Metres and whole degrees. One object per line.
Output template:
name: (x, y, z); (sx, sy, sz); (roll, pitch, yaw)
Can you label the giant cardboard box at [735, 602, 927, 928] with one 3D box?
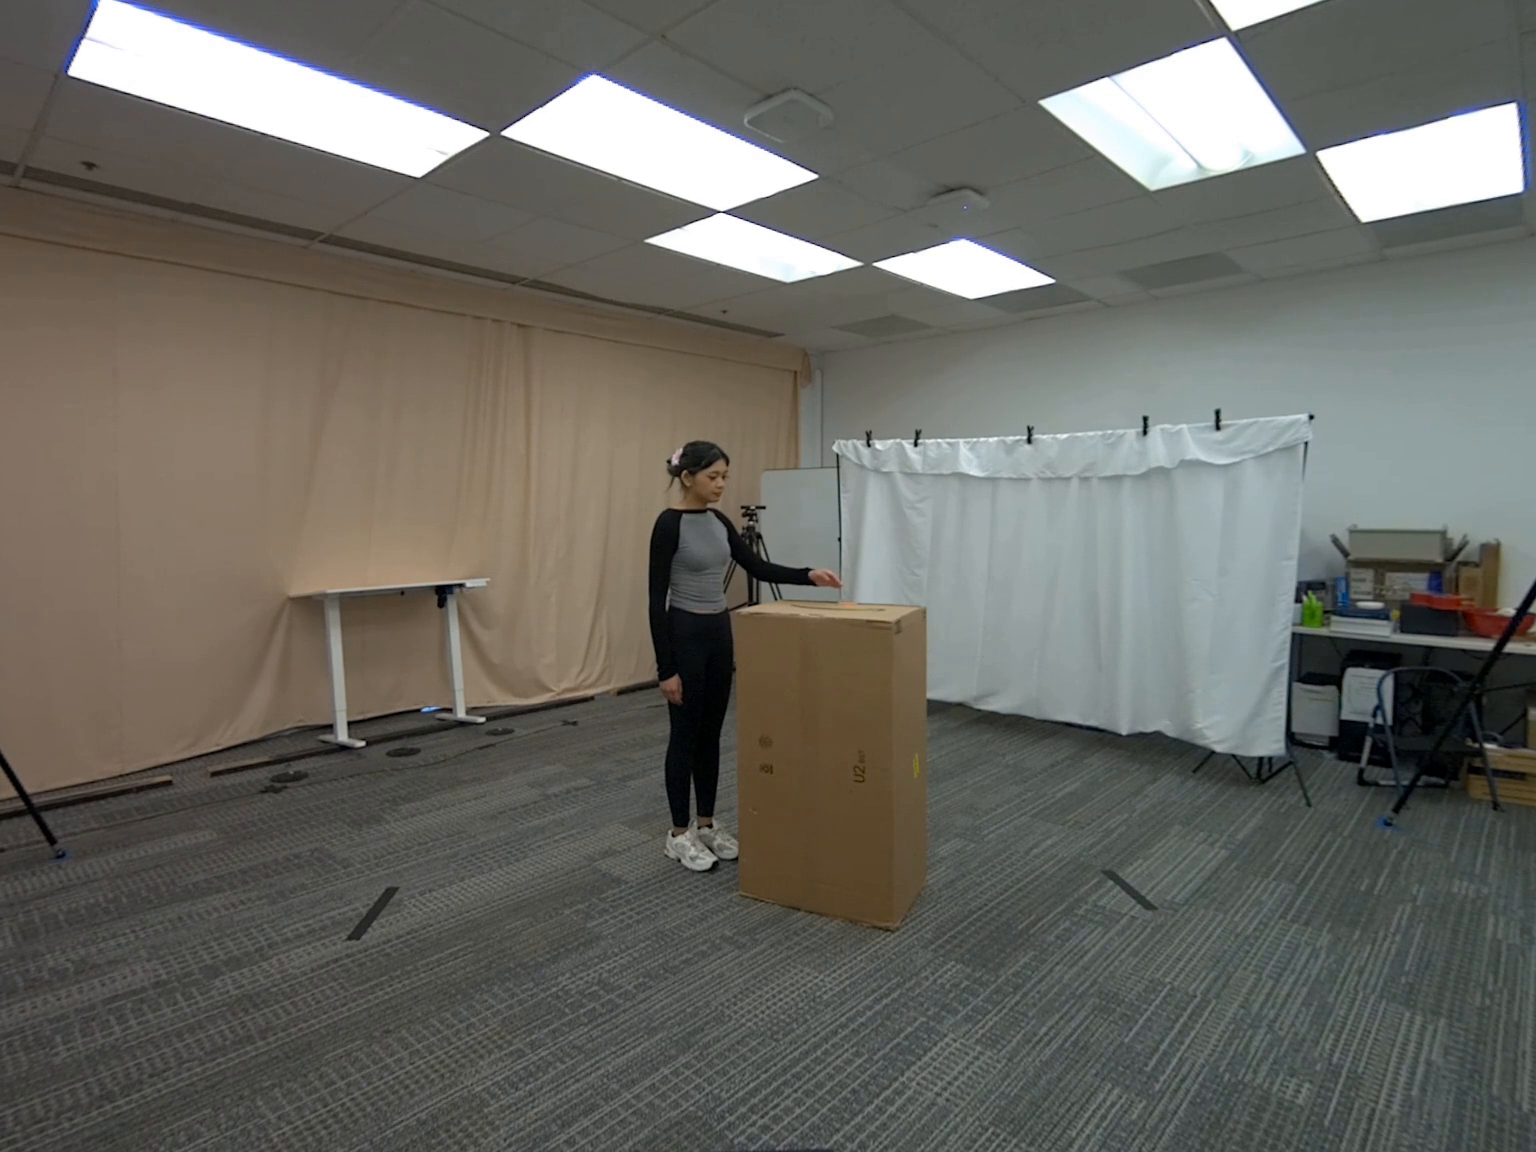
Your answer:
giant cardboard box: (0.243, 0.632, 3.039); (0.599, 1.024, 0.436); (1, 4, 26)
